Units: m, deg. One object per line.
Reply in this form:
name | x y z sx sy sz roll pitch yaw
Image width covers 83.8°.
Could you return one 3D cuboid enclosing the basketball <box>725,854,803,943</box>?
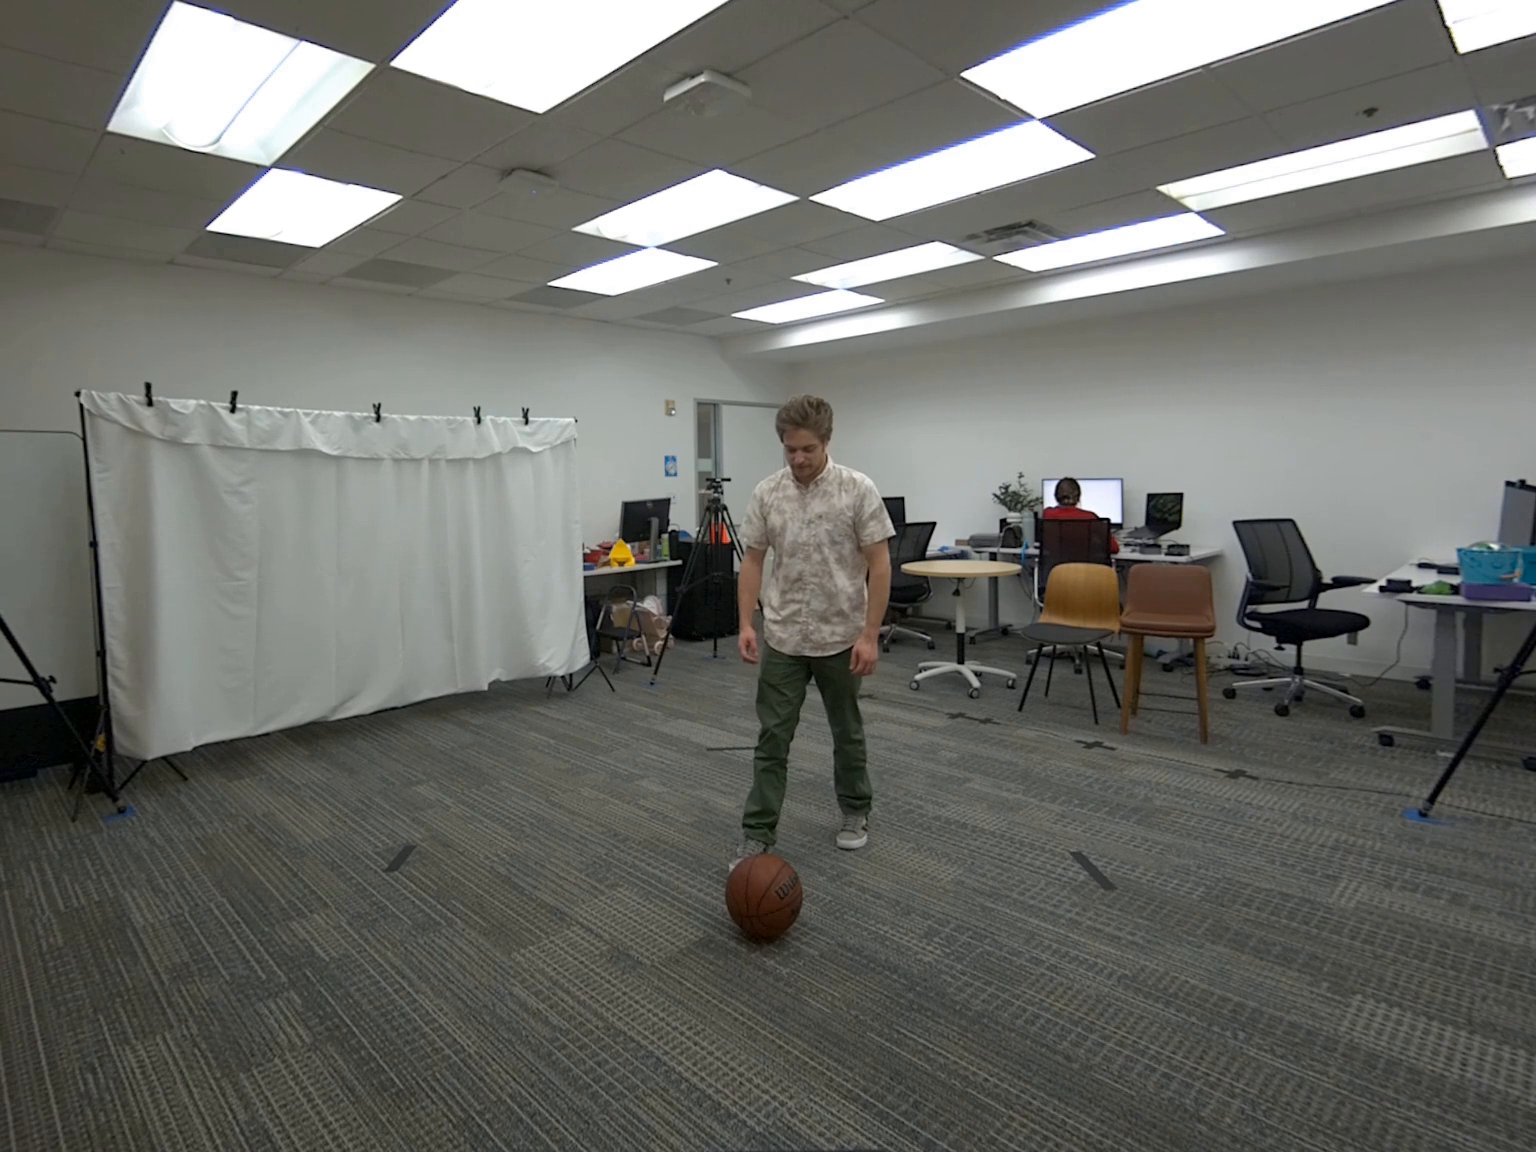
basketball | -0.008 0.979 2.622 0.236 0.235 0.237 -1 5 -2
